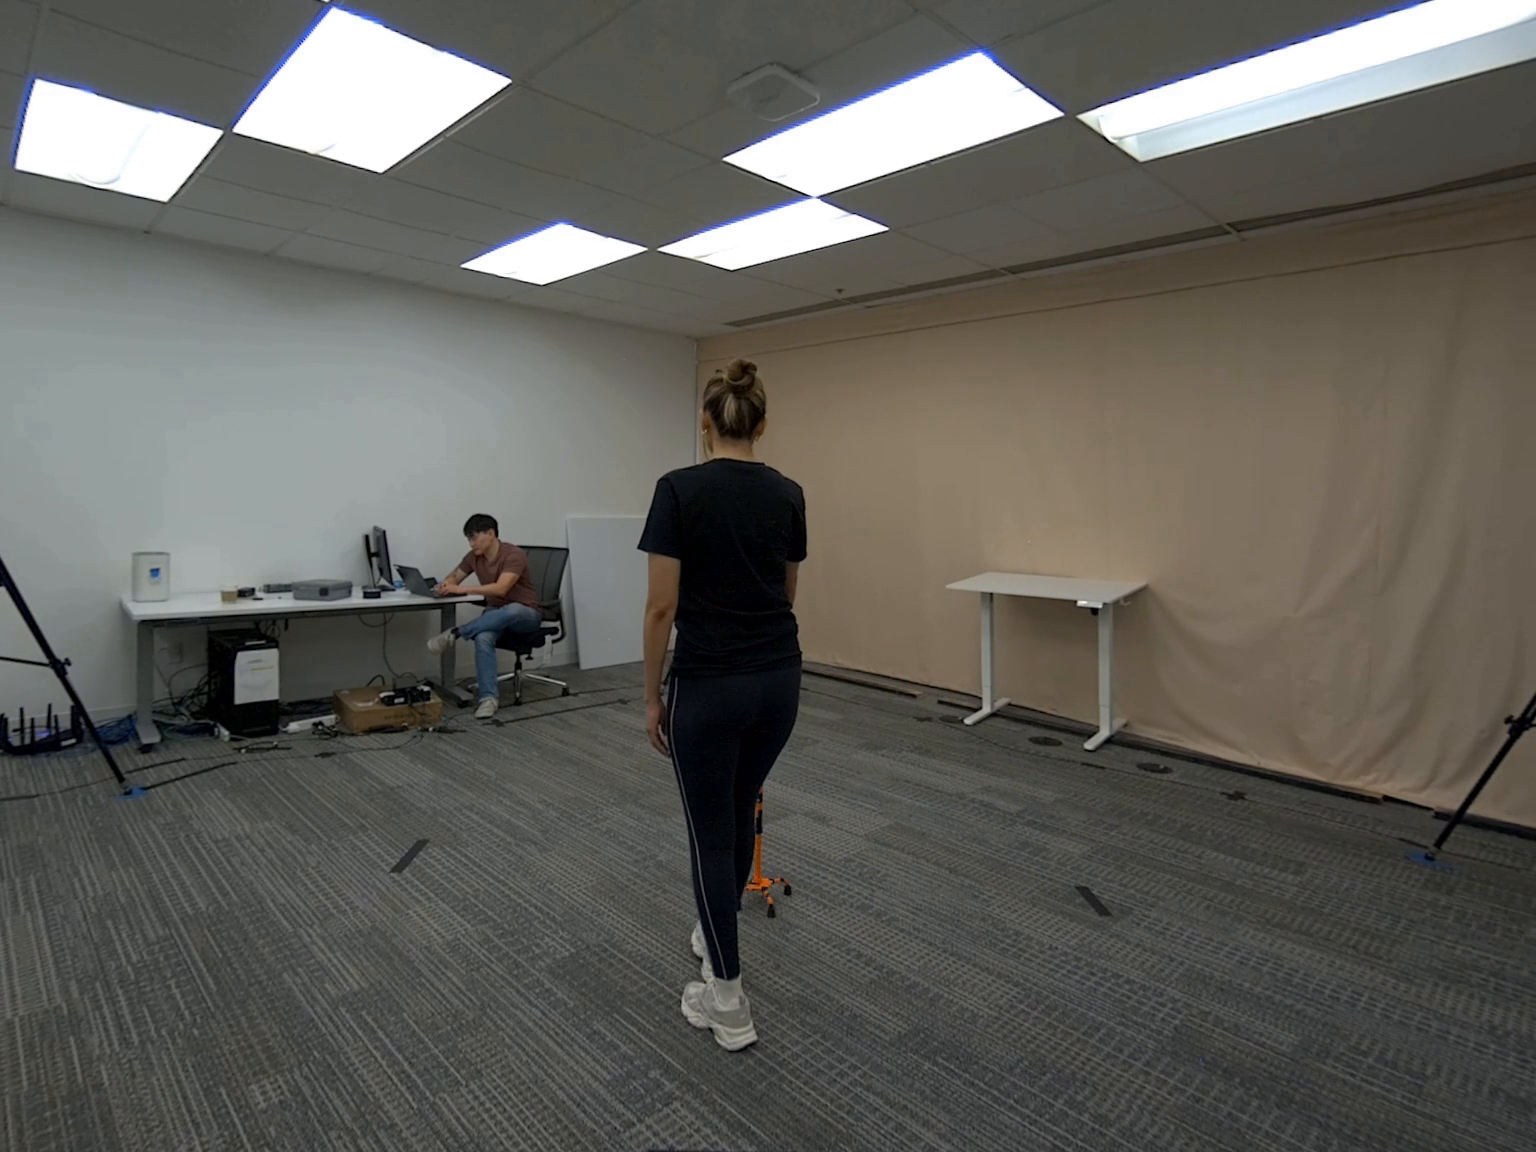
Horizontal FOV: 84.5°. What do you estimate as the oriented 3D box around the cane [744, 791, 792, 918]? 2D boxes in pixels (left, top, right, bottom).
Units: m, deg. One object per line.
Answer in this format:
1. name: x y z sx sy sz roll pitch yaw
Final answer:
1. cane: -0.014 0.678 2.892 0.154 0.907 0.204 2 2 17
